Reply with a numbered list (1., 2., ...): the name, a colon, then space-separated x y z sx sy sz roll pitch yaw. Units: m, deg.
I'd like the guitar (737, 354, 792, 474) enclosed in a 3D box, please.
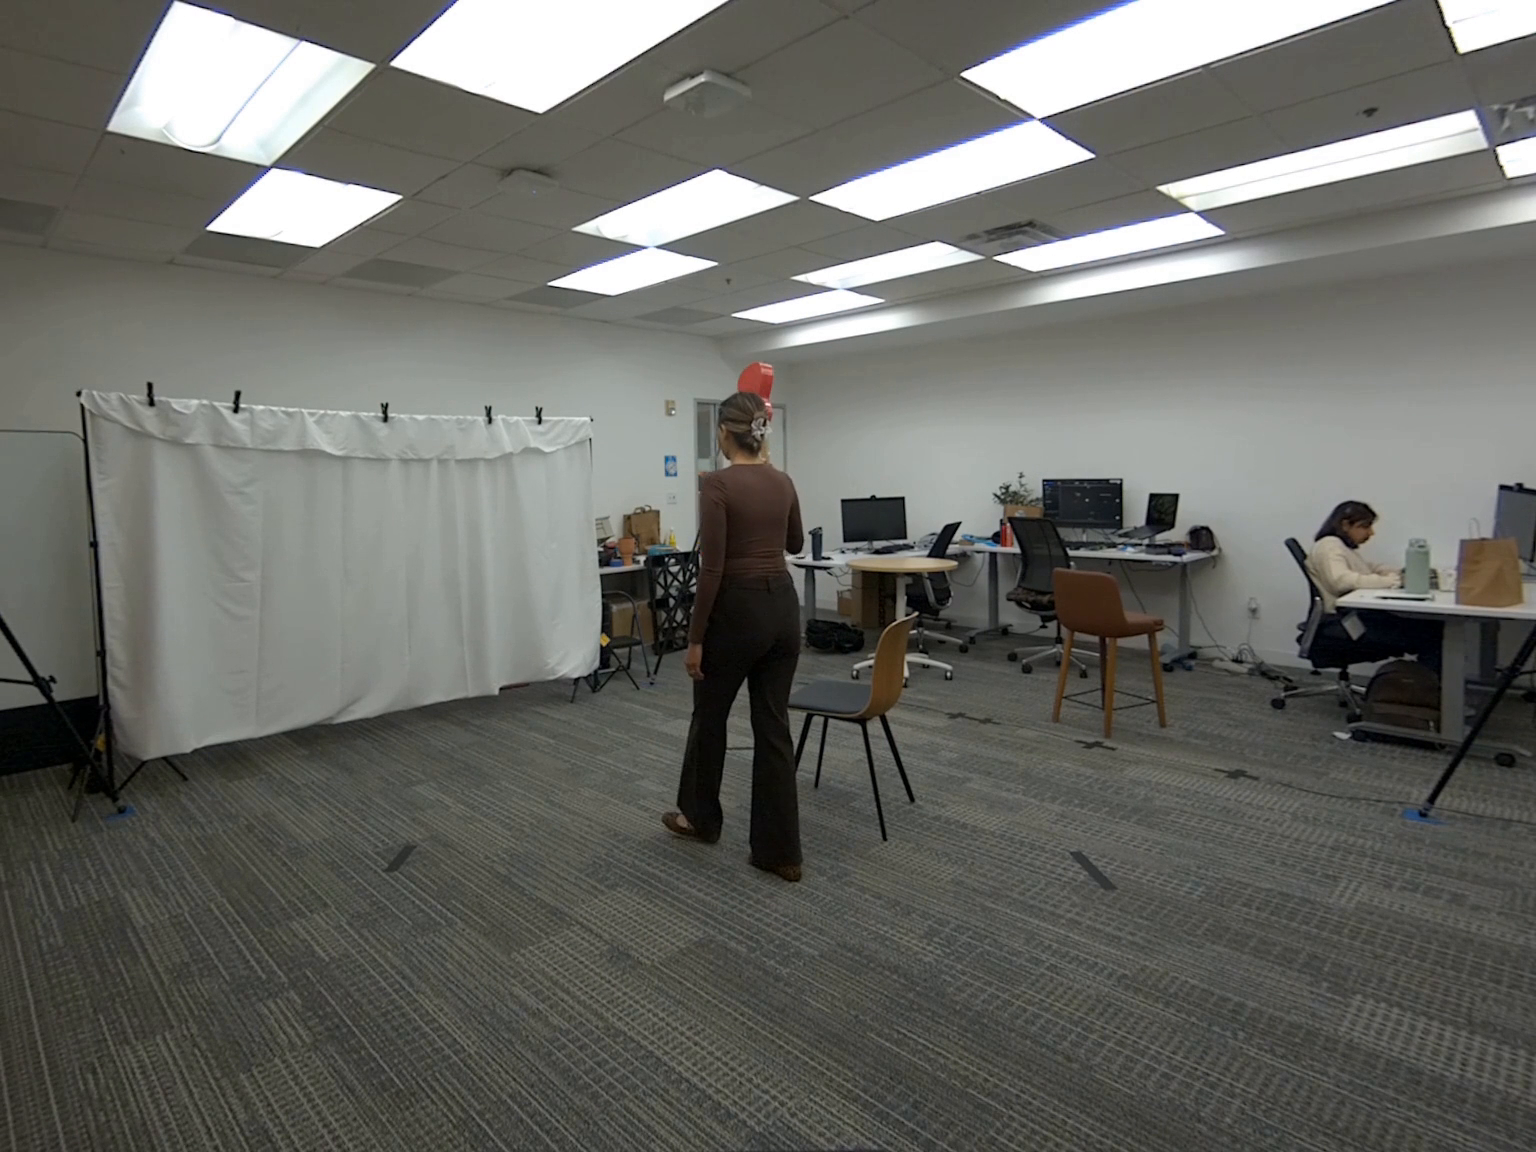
1. guitar: -0.020 -0.616 3.420 0.069 0.507 0.194 4 -22 -29
